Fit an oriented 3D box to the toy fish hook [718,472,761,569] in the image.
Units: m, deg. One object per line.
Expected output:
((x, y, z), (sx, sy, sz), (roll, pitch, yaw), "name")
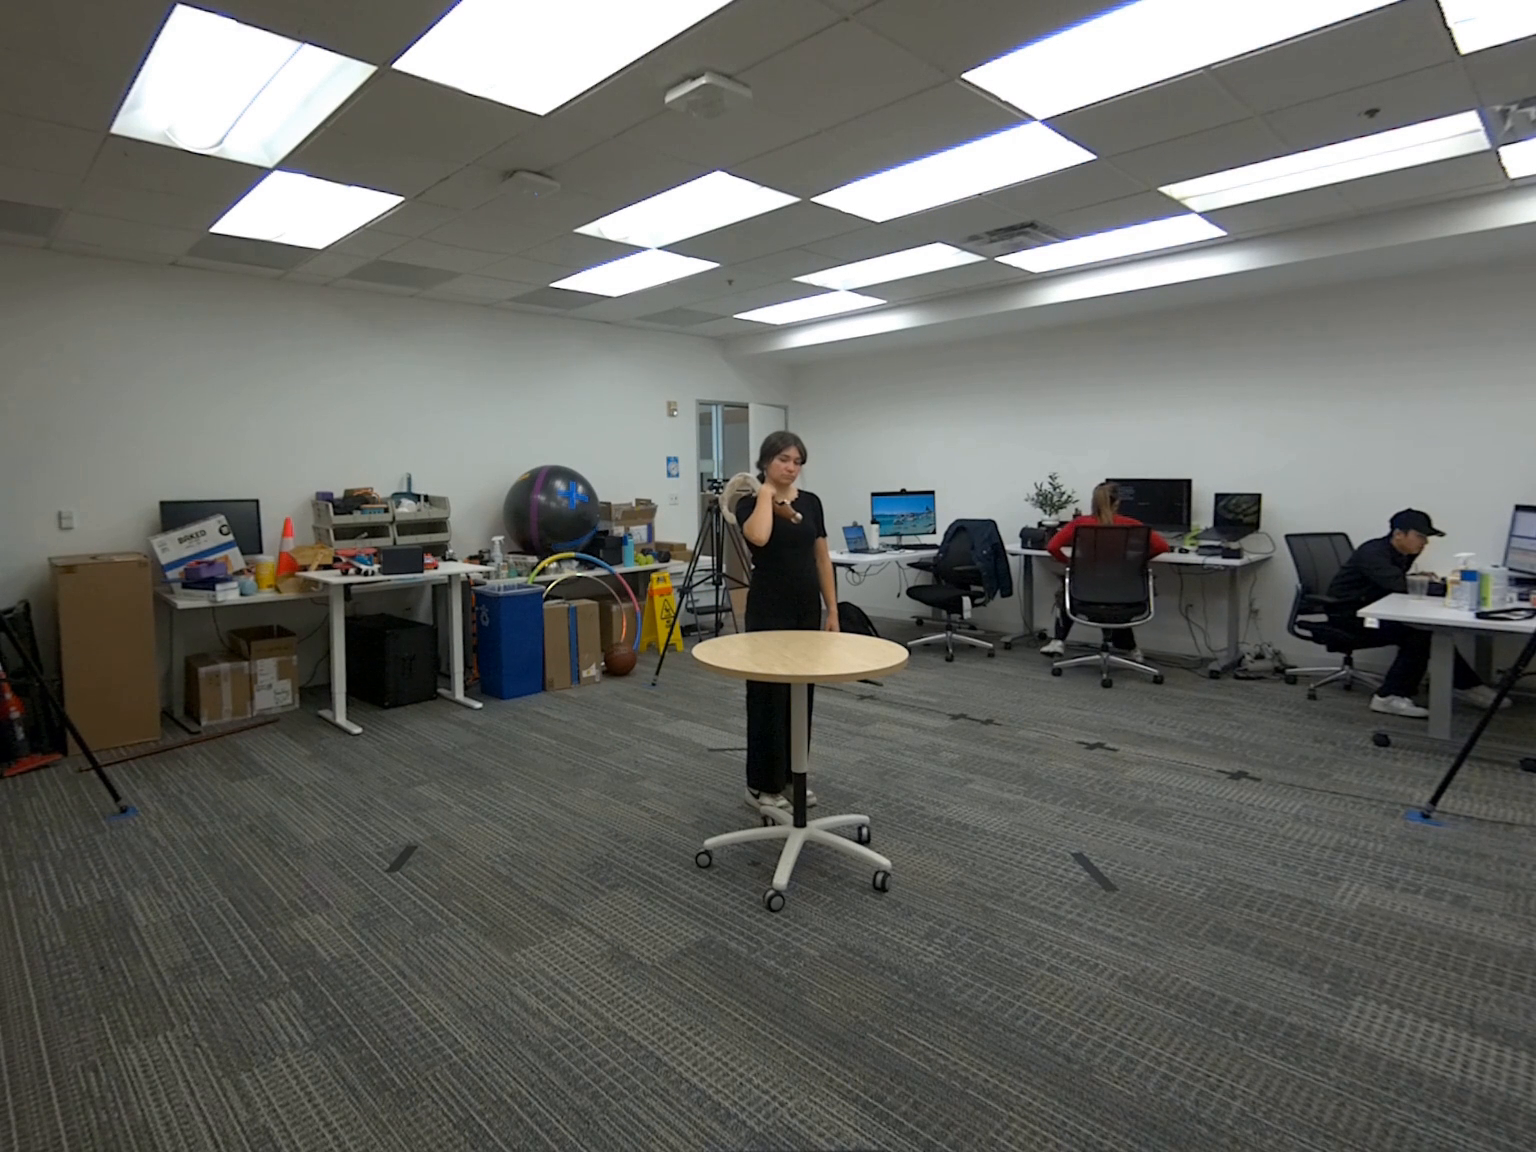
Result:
((-0.041, -0.274, 3.575), (0.046, 0.224, 0.527), (19, 13, -40), "toy fish hook")
